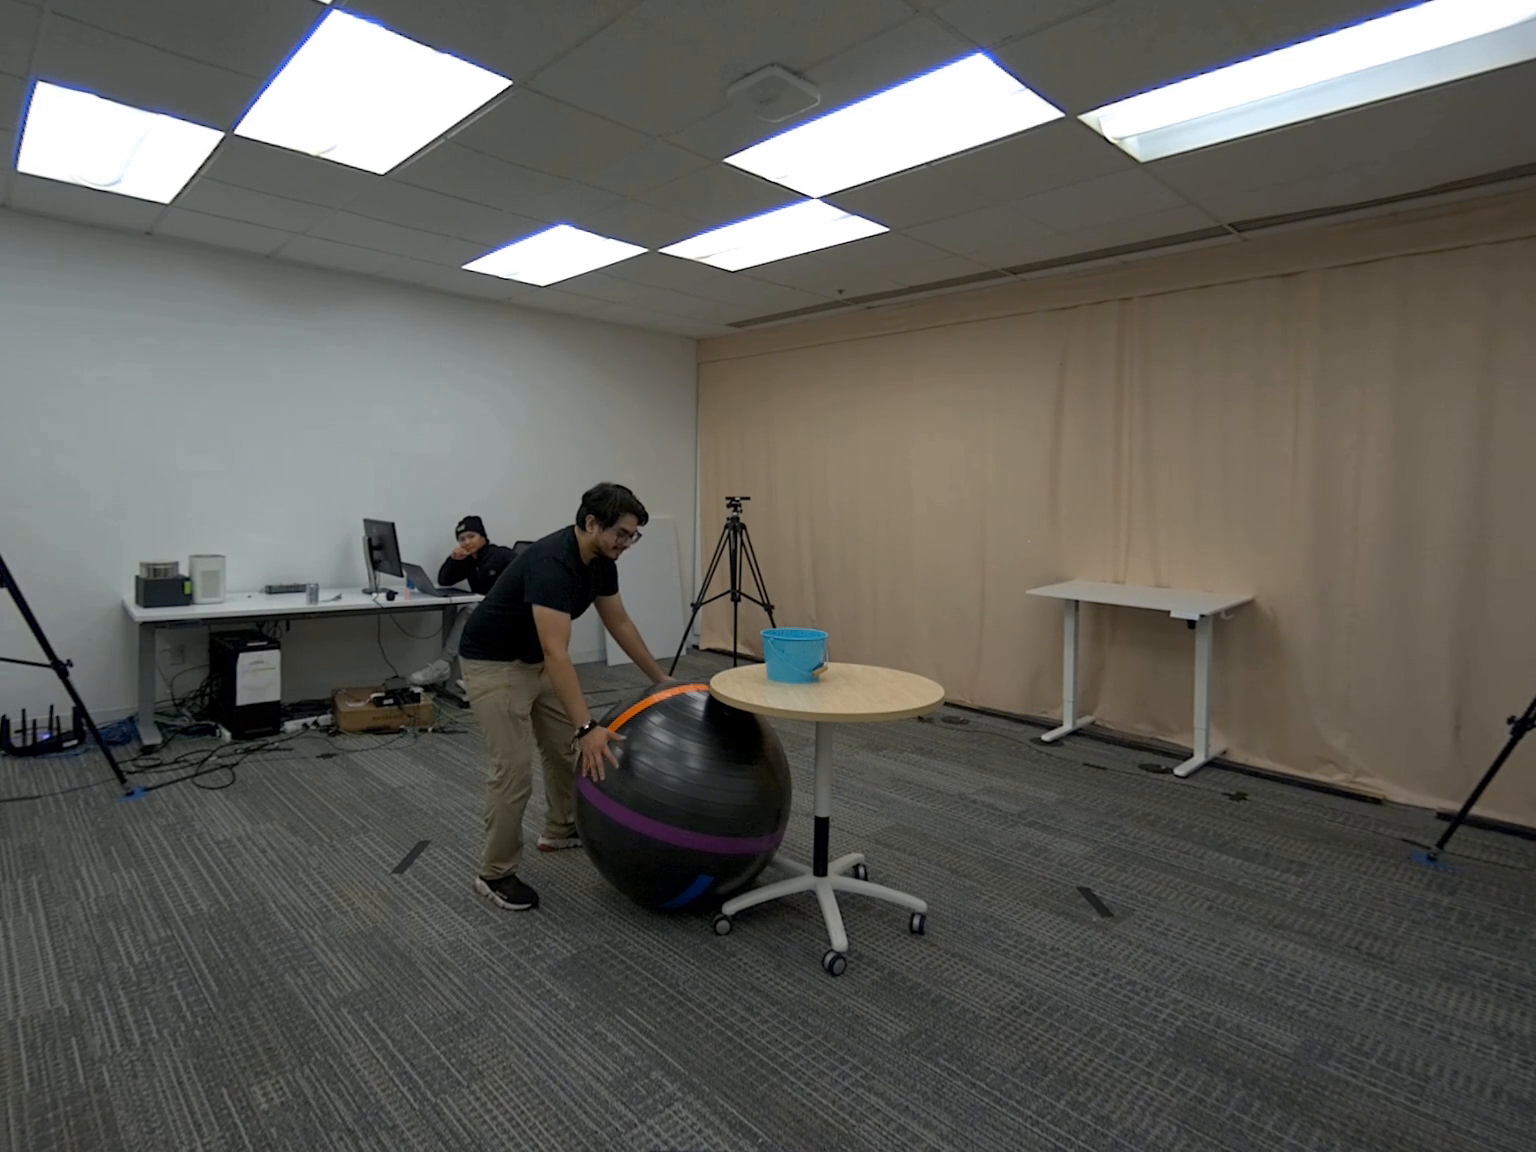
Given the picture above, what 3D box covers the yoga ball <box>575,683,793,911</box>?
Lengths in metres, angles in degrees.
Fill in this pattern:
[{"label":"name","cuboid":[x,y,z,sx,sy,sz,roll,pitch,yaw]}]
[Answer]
[{"label":"yoga ball","cuboid":[-0.303,0.756,2.929,0.757,0.756,0.761,1,4,-1]}]
